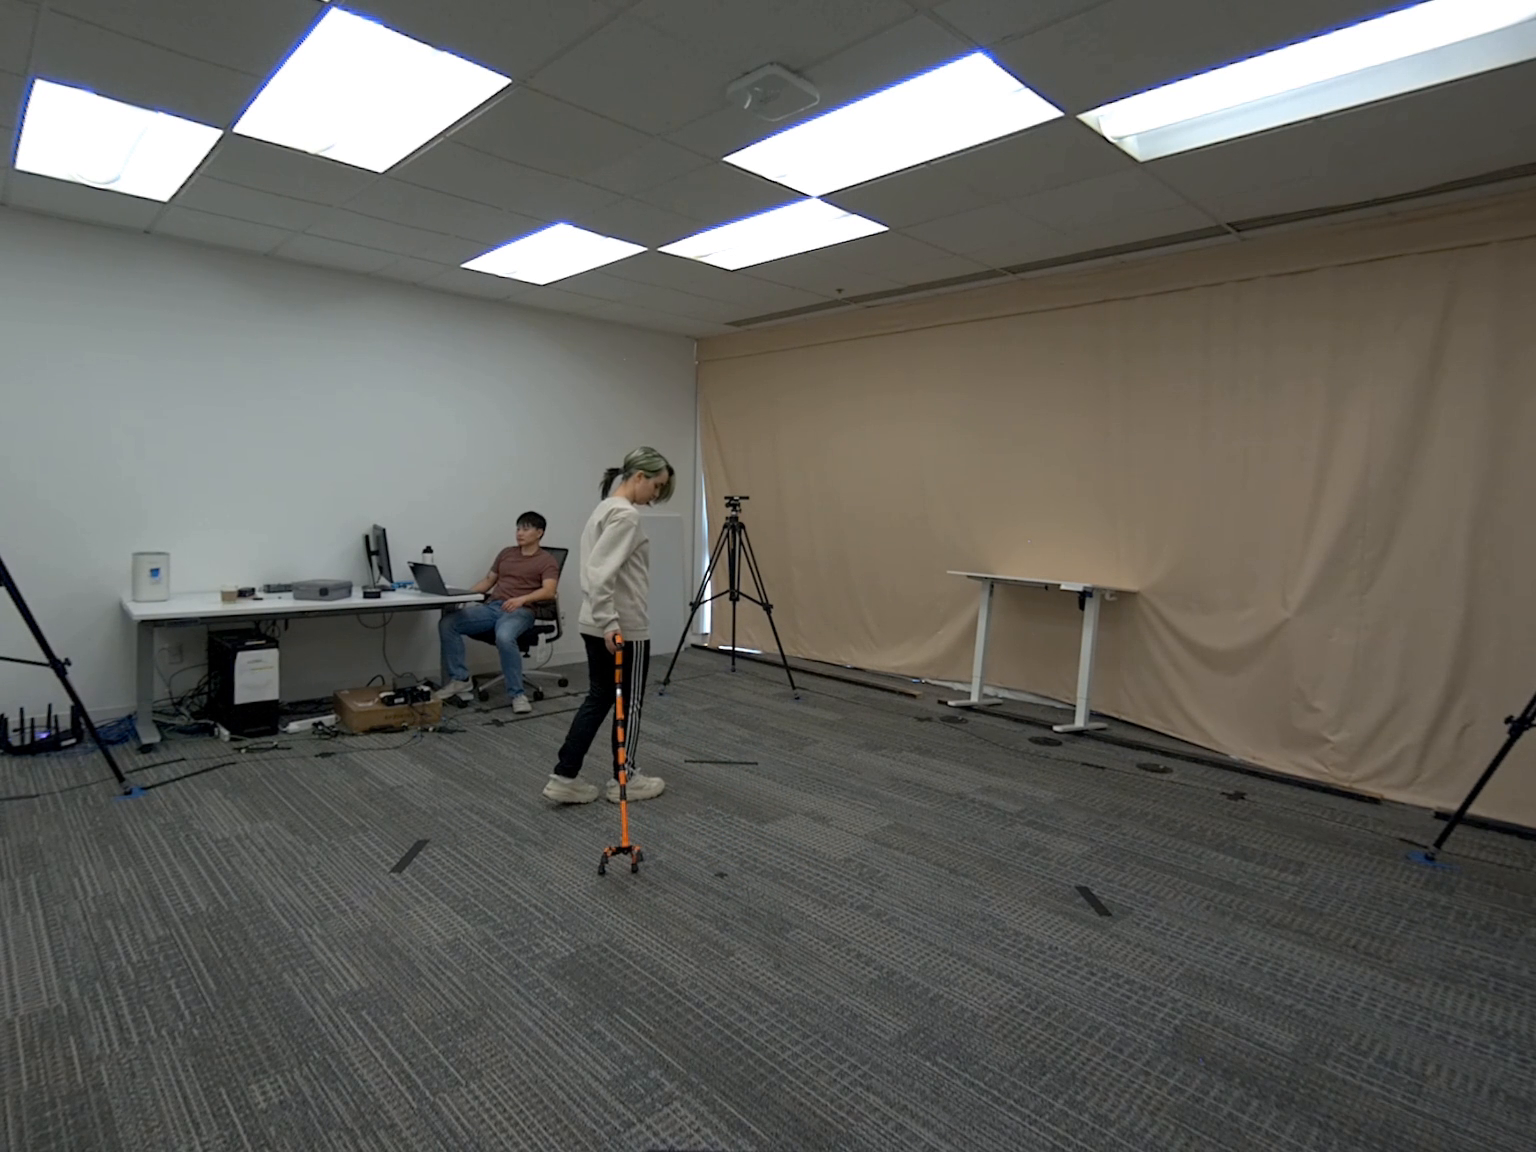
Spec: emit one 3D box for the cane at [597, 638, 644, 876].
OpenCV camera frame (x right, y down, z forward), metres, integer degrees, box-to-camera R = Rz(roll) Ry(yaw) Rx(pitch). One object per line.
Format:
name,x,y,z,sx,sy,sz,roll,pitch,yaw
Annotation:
cane,-0.590,0.660,3.245,0.150,0.928,0.204,0,-31,-14
